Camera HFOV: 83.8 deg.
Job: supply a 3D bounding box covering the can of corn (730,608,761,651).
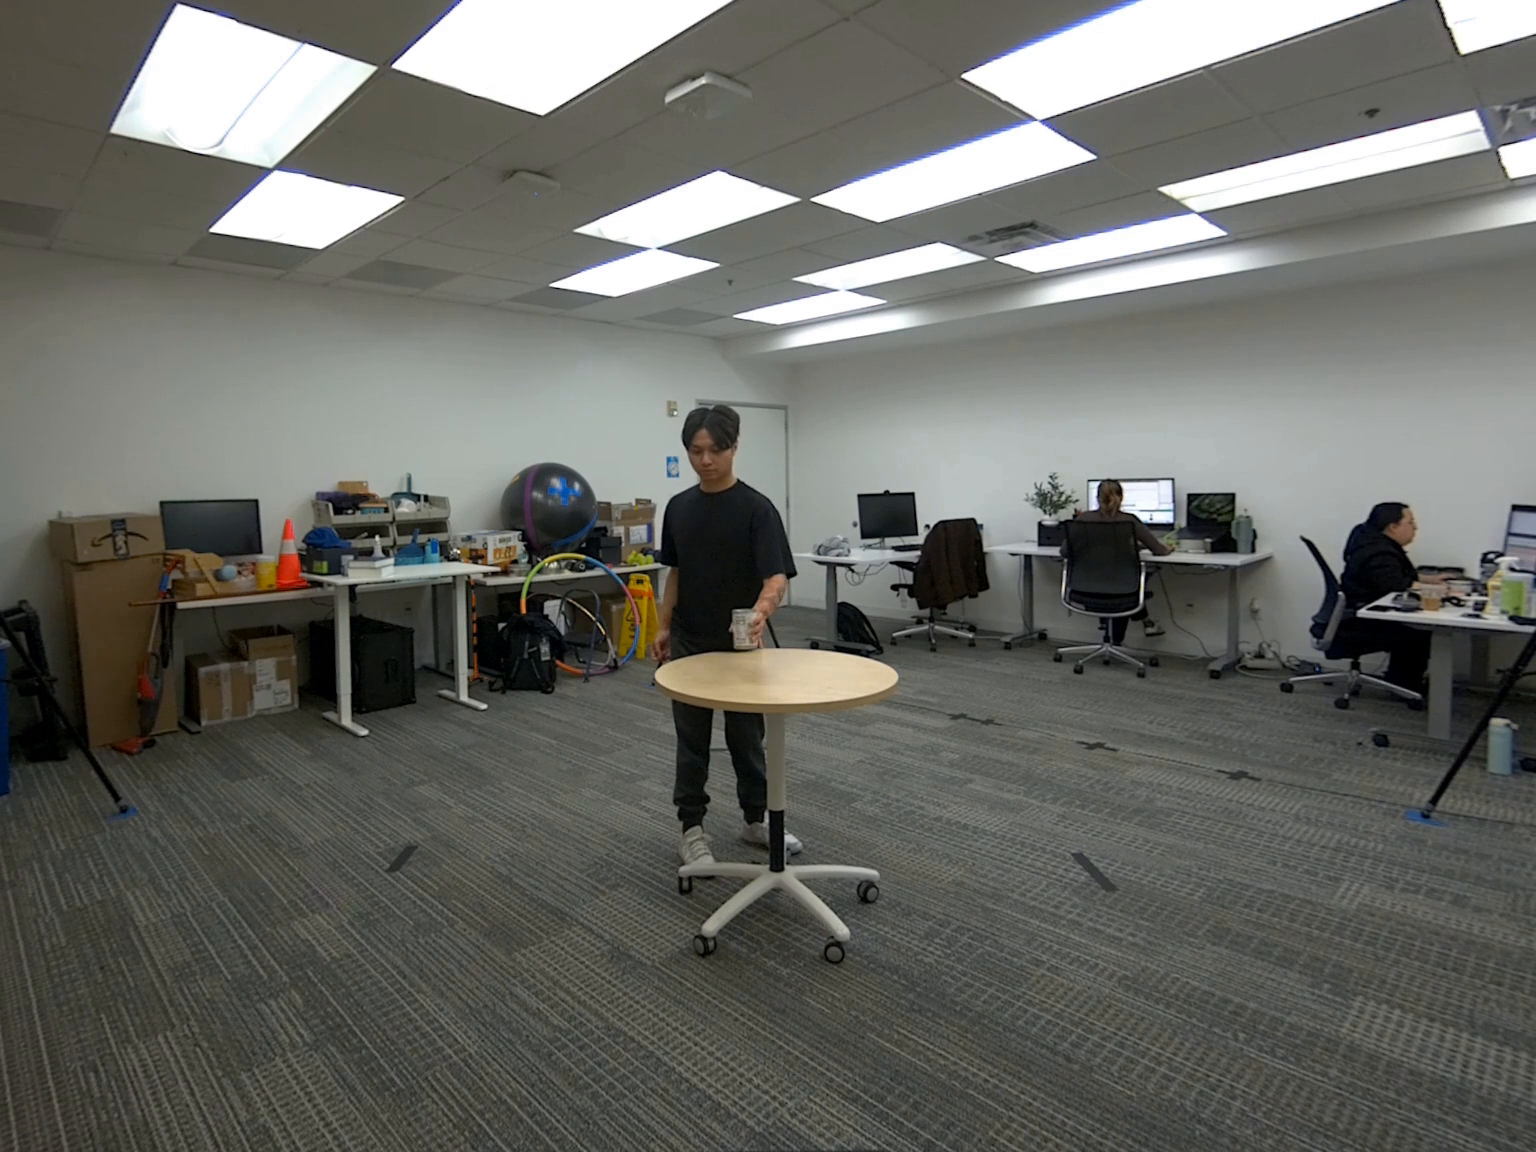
[{"bbox_3d":[-0.061,0.163,2.587,0.074,0.111,0.074,-2,-2,-2],"label":"can of corn"}]
